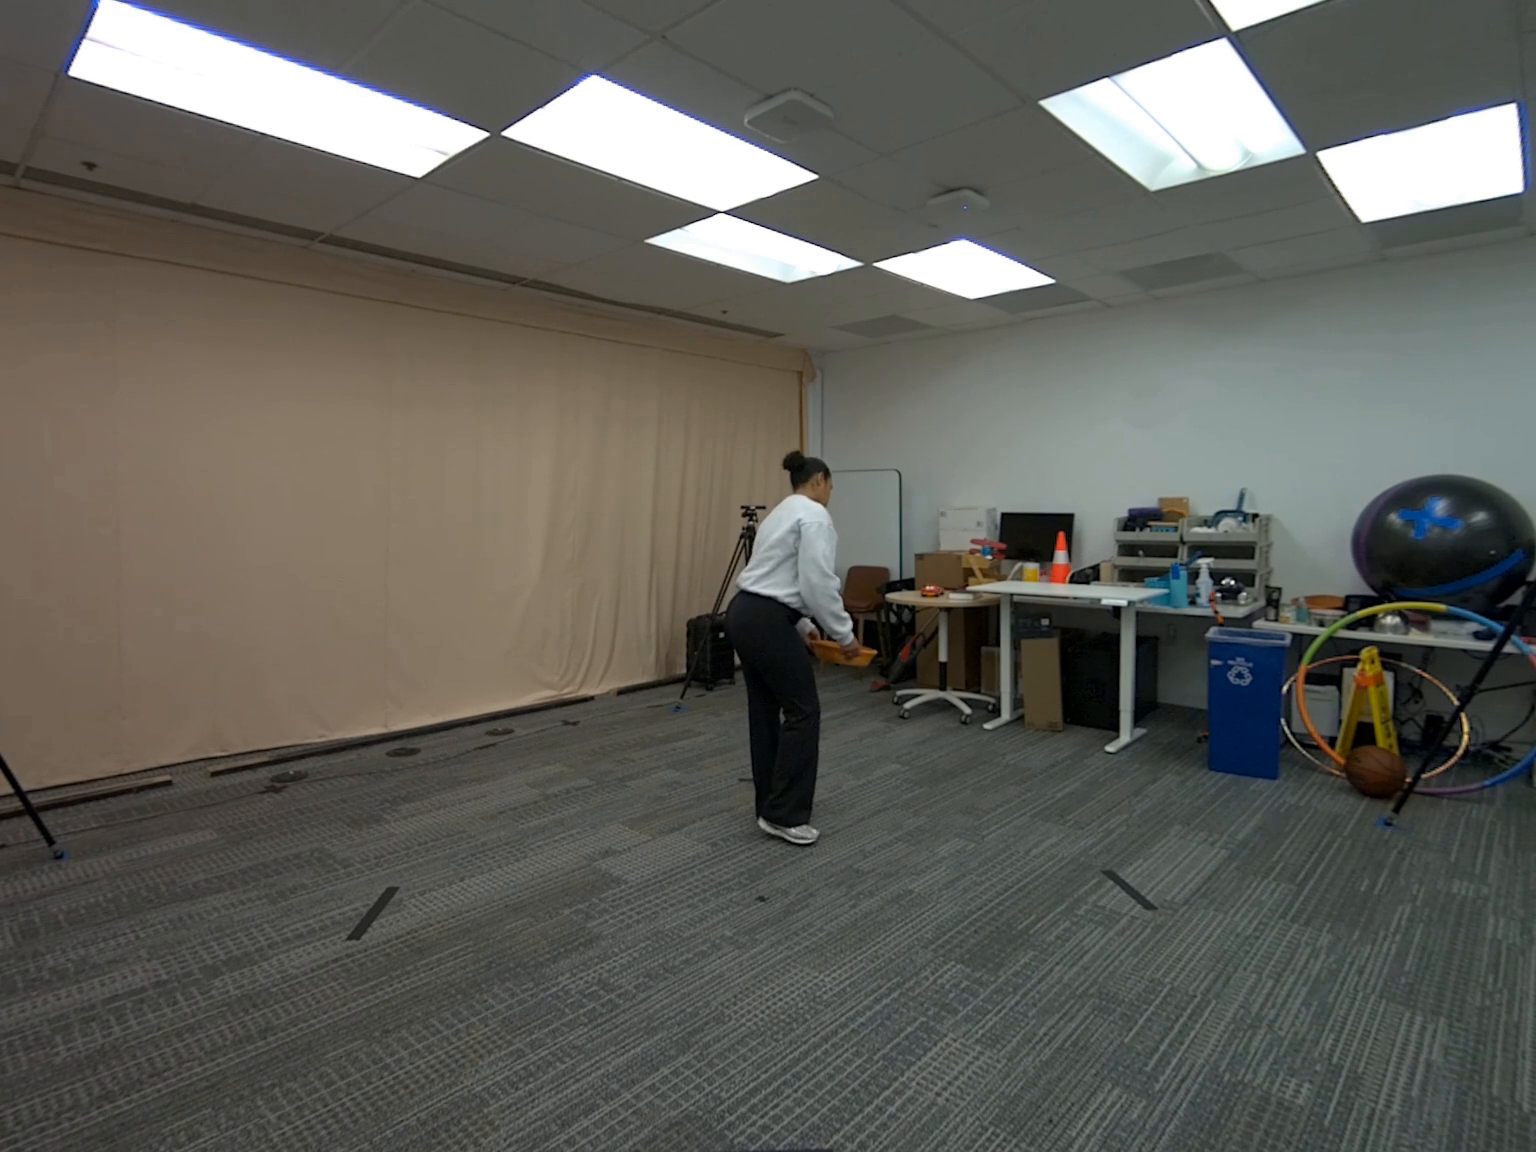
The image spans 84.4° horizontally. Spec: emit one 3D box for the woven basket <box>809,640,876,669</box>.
[{"bbox_3d":[0.329,0.352,3.717,0.246,0.073,0.359,7,1,-23],"label":"woven basket"}]
